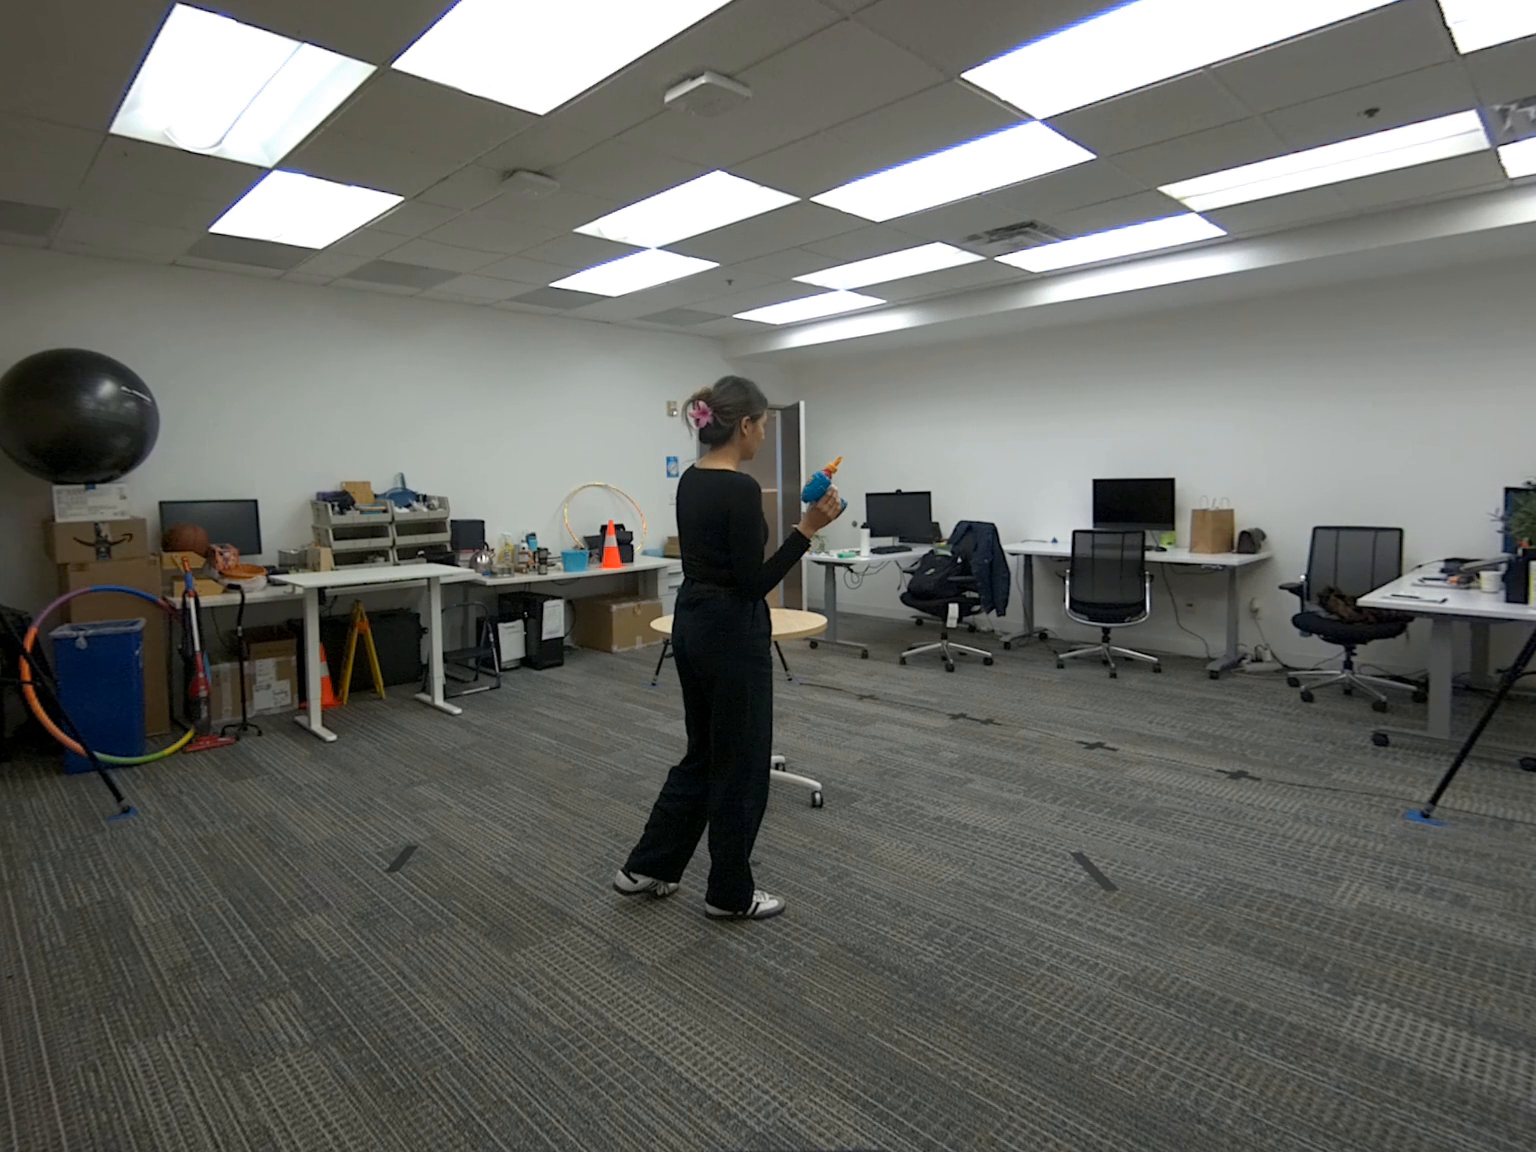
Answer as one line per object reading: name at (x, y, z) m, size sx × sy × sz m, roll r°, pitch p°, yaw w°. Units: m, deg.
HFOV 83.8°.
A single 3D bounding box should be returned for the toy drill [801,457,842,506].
toy drill at (0.181, -0.260, 2.477) m, size 0.142 × 0.170 × 0.063 m, roll 40°, pitch 0°, yaw -25°
